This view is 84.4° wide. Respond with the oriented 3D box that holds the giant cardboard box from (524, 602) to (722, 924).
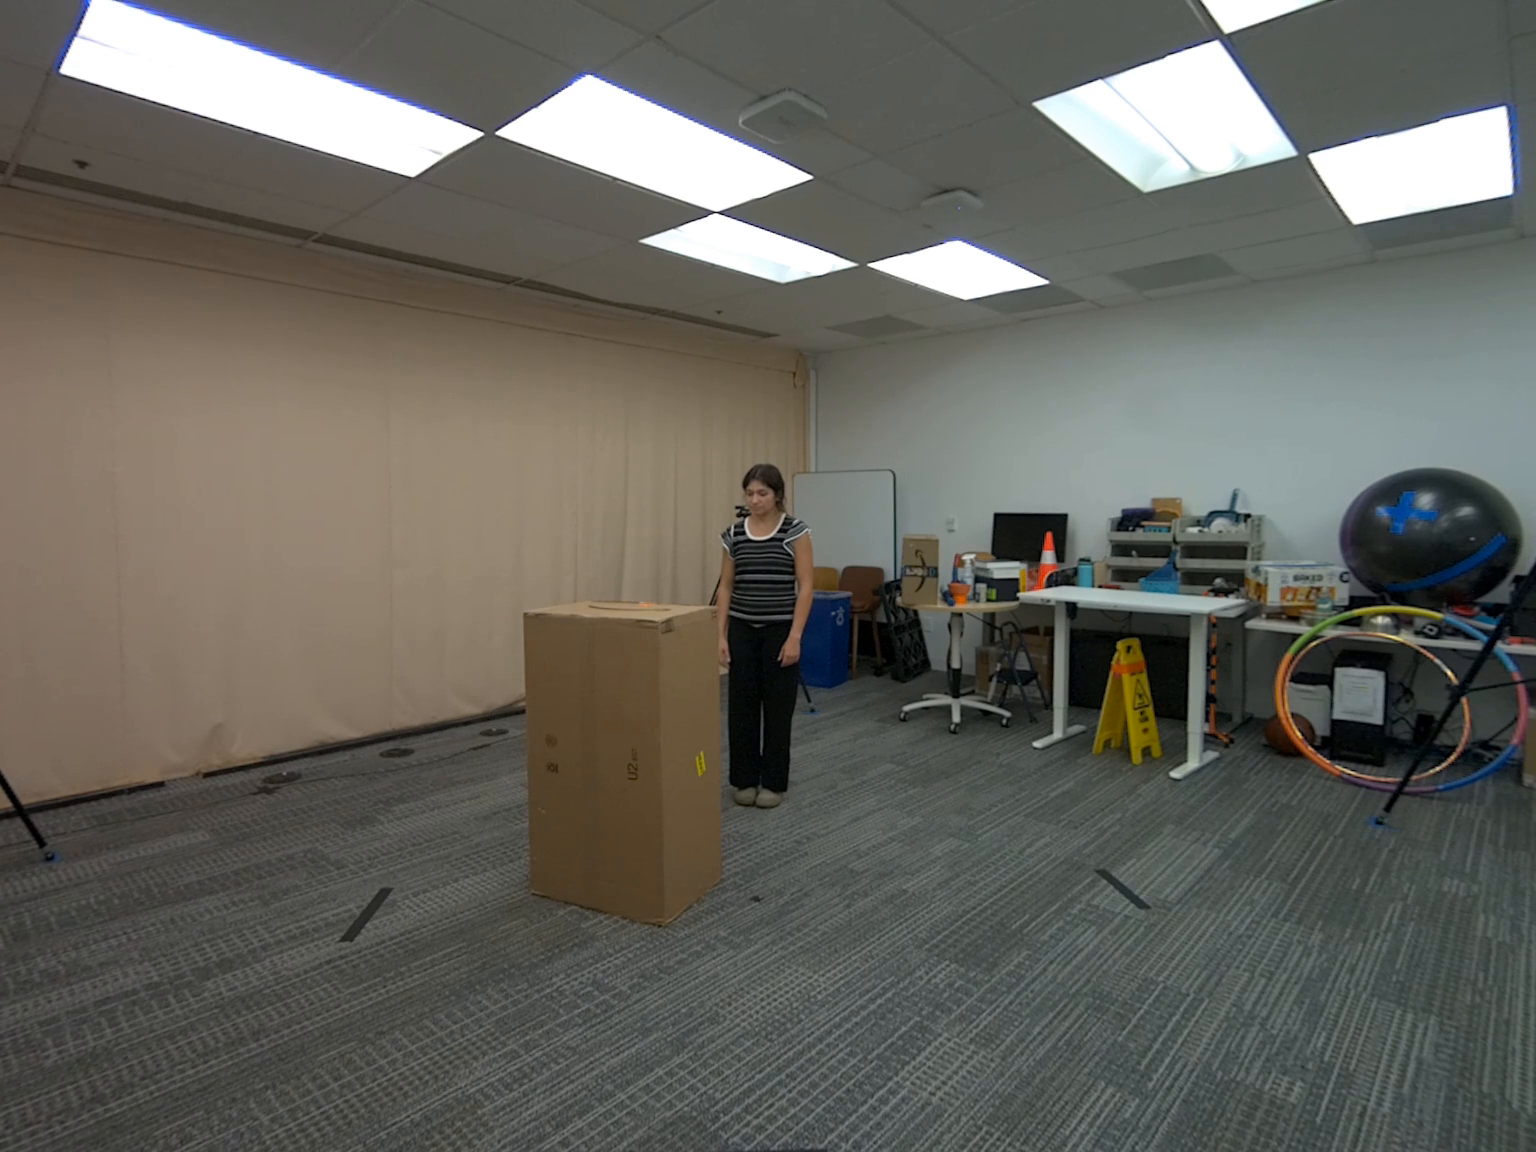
[{"bbox_3d":[-0.526,0.631,3.080,0.593,1.024,0.415,1,3,27],"label":"giant cardboard box"}]
